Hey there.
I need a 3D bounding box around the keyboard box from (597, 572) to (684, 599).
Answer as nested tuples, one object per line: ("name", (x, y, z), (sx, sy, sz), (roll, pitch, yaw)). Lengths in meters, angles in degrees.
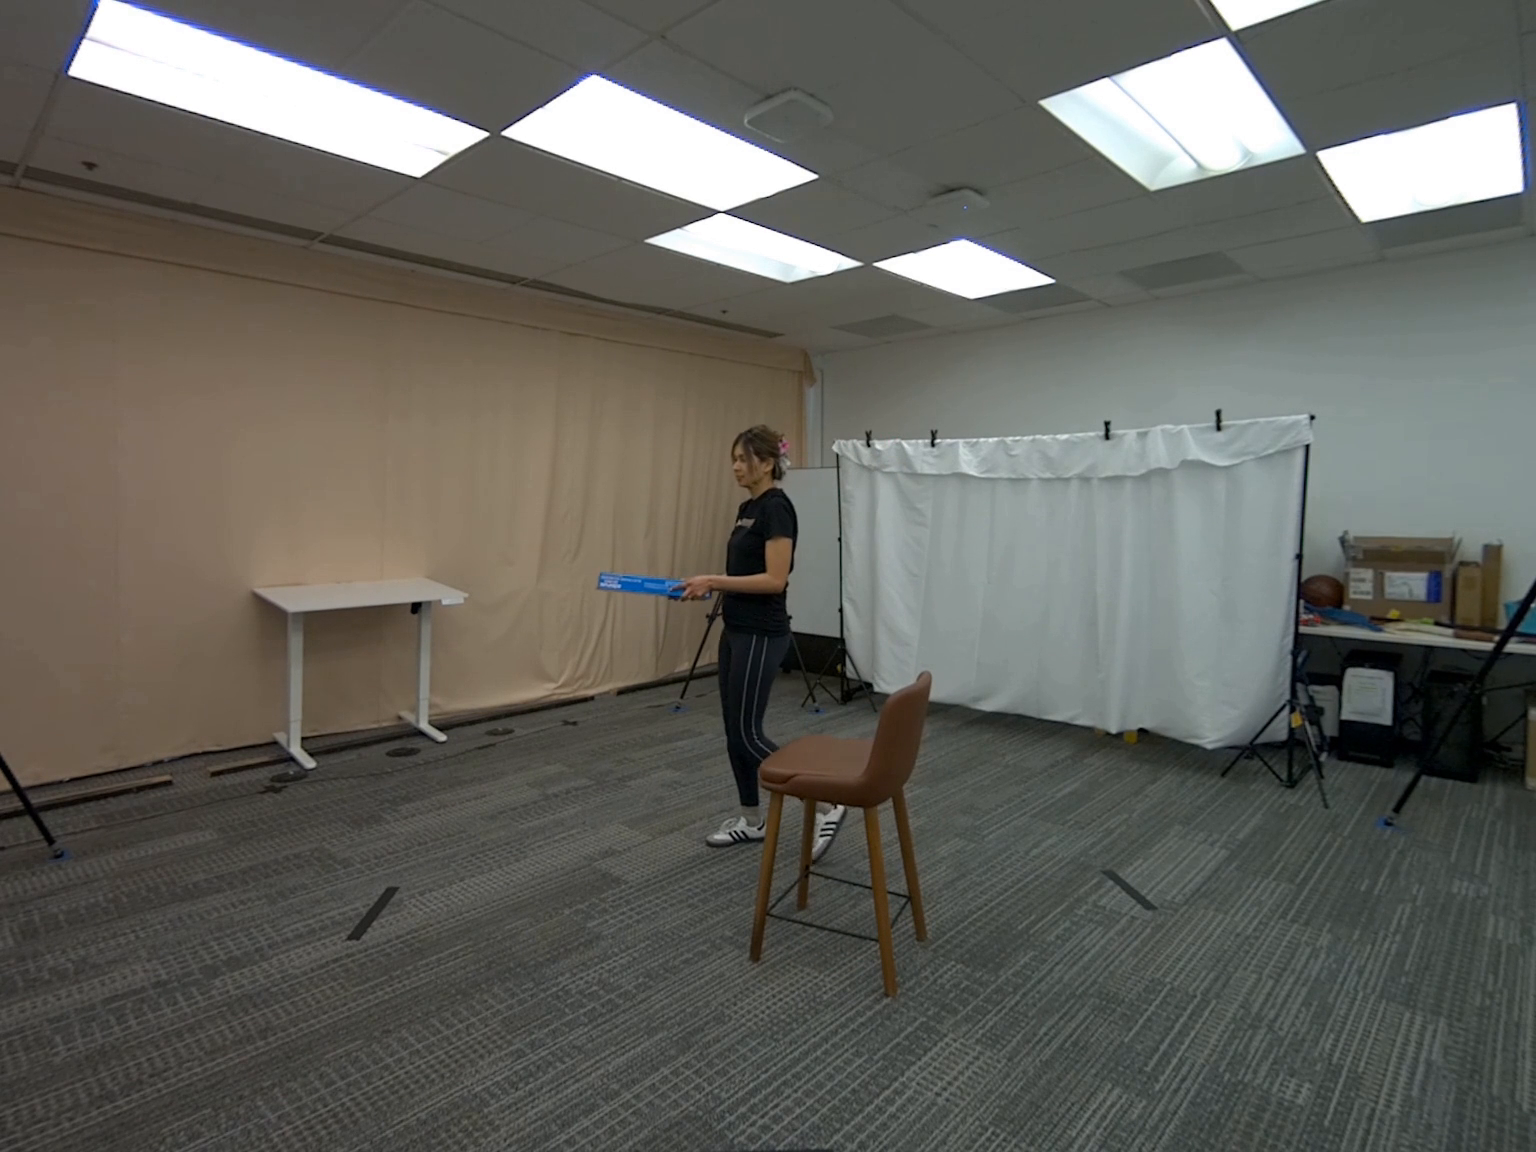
("keyboard box", (-0.439, 0.048, 3.294), (0.433, 0.059, 0.177), (7, -6, -7))
